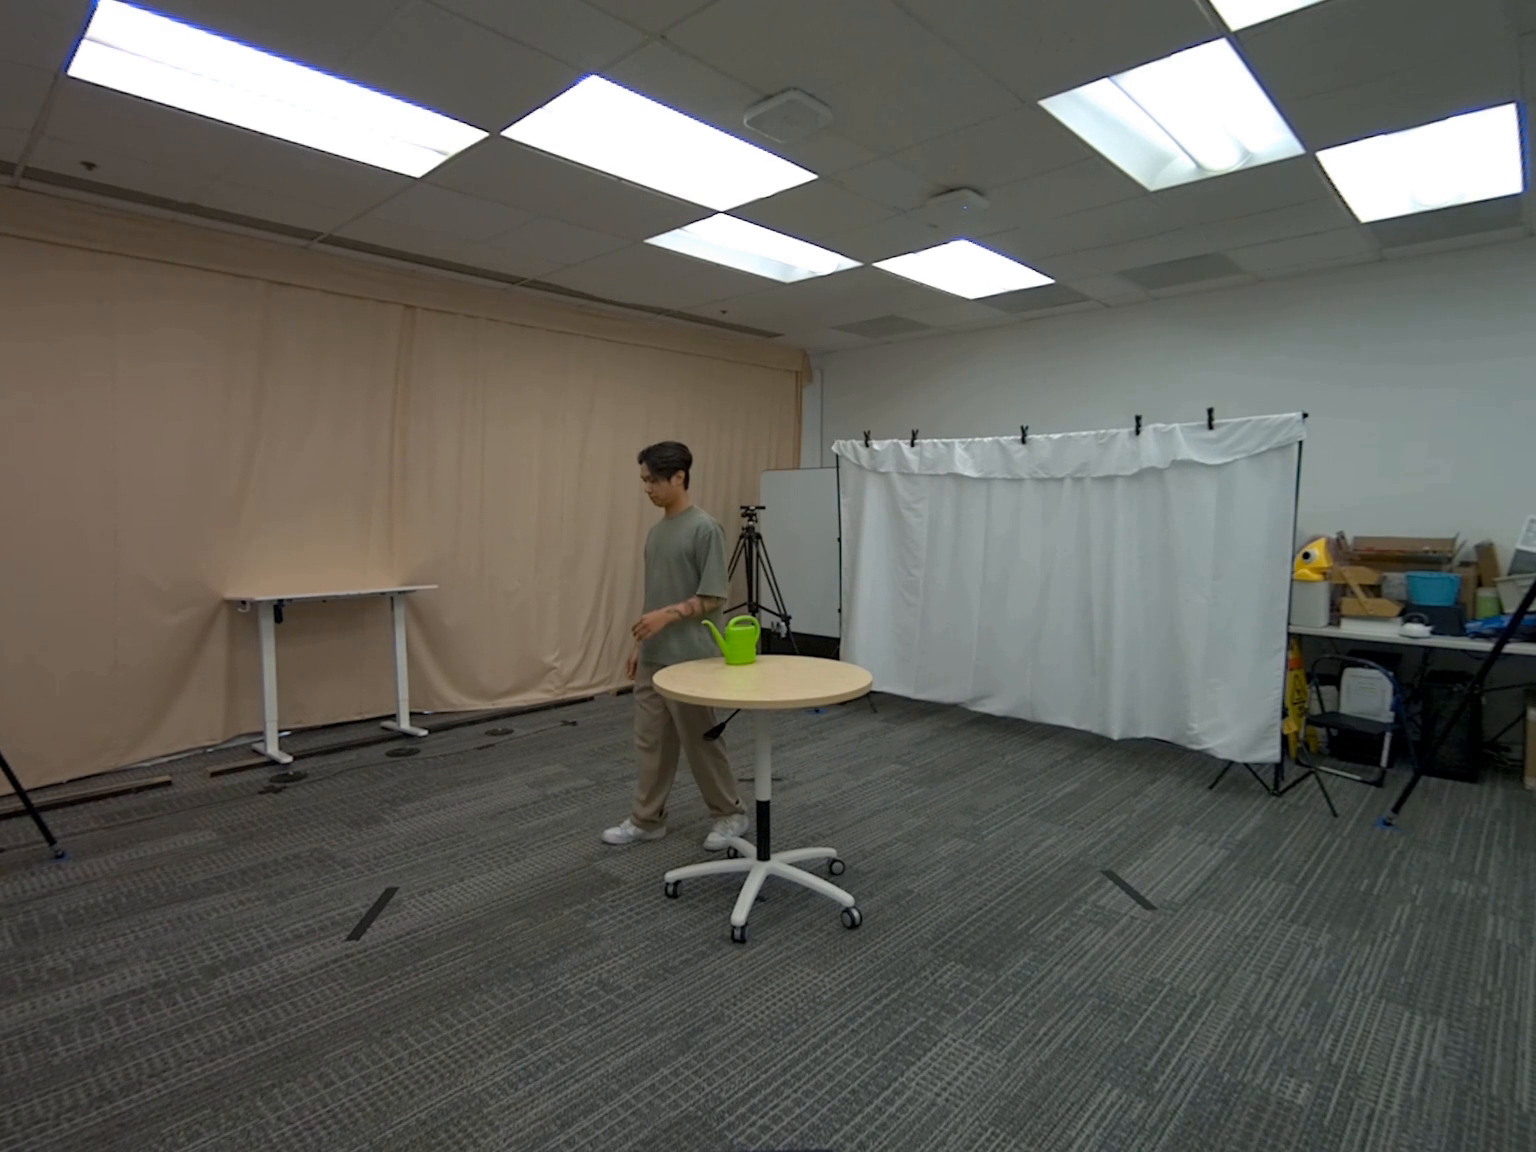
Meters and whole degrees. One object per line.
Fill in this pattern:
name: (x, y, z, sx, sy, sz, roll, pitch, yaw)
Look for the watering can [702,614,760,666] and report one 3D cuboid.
watering can: (-0.139, 0.243, 3.167, 0.271, 0.176, 0.101, -2, 5, -27)
